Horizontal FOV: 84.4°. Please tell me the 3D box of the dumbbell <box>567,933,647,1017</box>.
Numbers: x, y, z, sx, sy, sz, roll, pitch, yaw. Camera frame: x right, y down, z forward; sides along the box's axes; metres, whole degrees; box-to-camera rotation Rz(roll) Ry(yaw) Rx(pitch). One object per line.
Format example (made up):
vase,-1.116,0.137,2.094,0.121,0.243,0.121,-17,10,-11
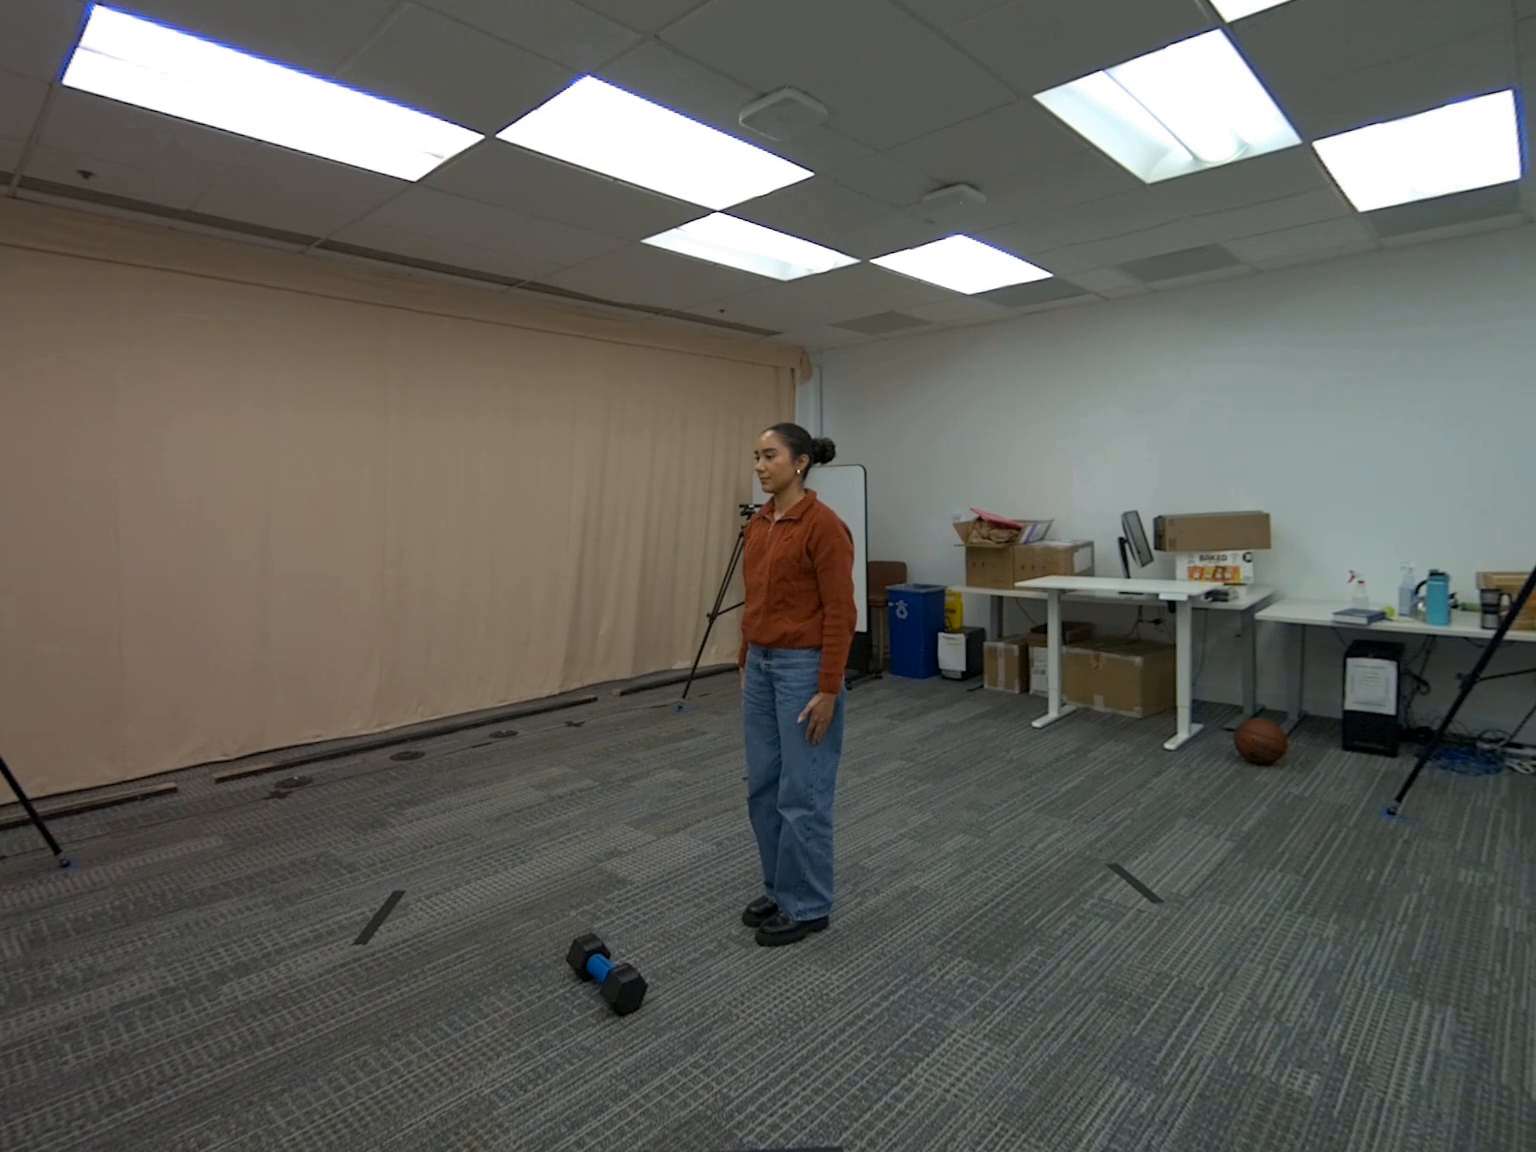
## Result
dumbbell,-0.471,1.146,2.421,0.105,0.123,0.303,33,-17,-35
